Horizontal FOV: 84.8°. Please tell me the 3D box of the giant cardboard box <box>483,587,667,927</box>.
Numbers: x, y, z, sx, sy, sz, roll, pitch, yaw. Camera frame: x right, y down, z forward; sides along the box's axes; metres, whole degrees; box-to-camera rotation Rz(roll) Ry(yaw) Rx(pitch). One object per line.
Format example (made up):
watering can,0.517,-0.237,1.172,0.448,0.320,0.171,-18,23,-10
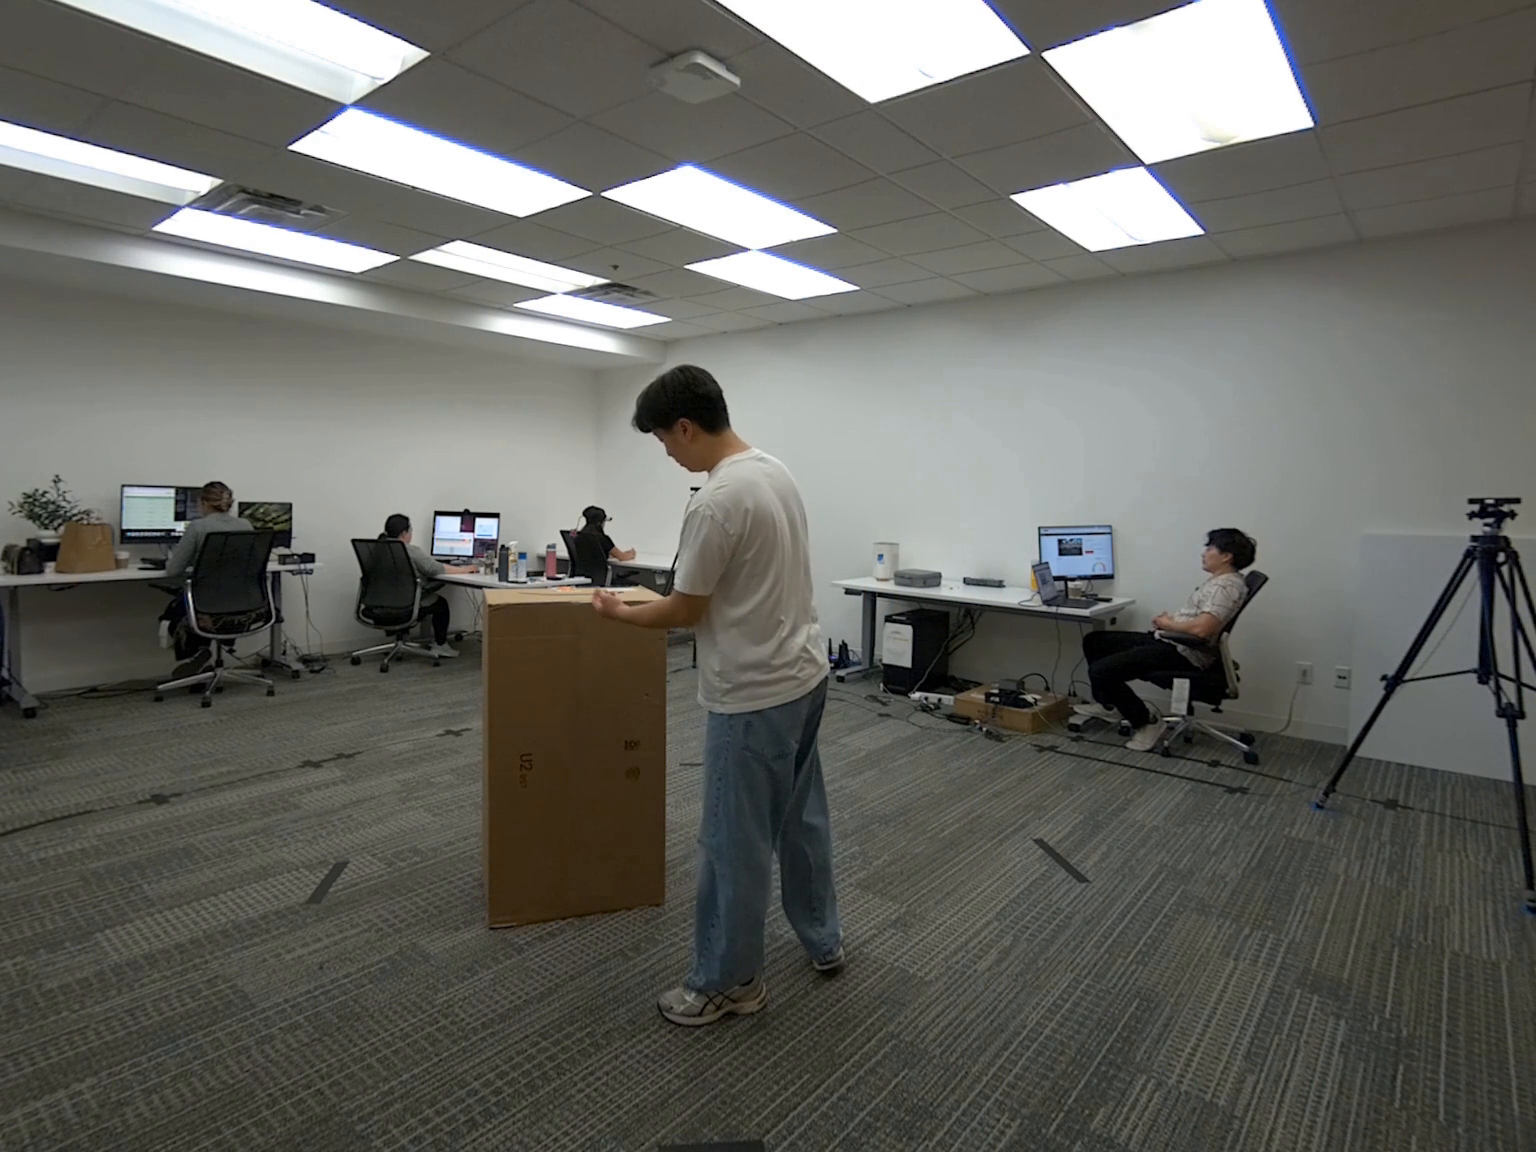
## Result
giant cardboard box,-0.687,0.567,2.915,0.566,1.023,0.436,-1,3,-21
